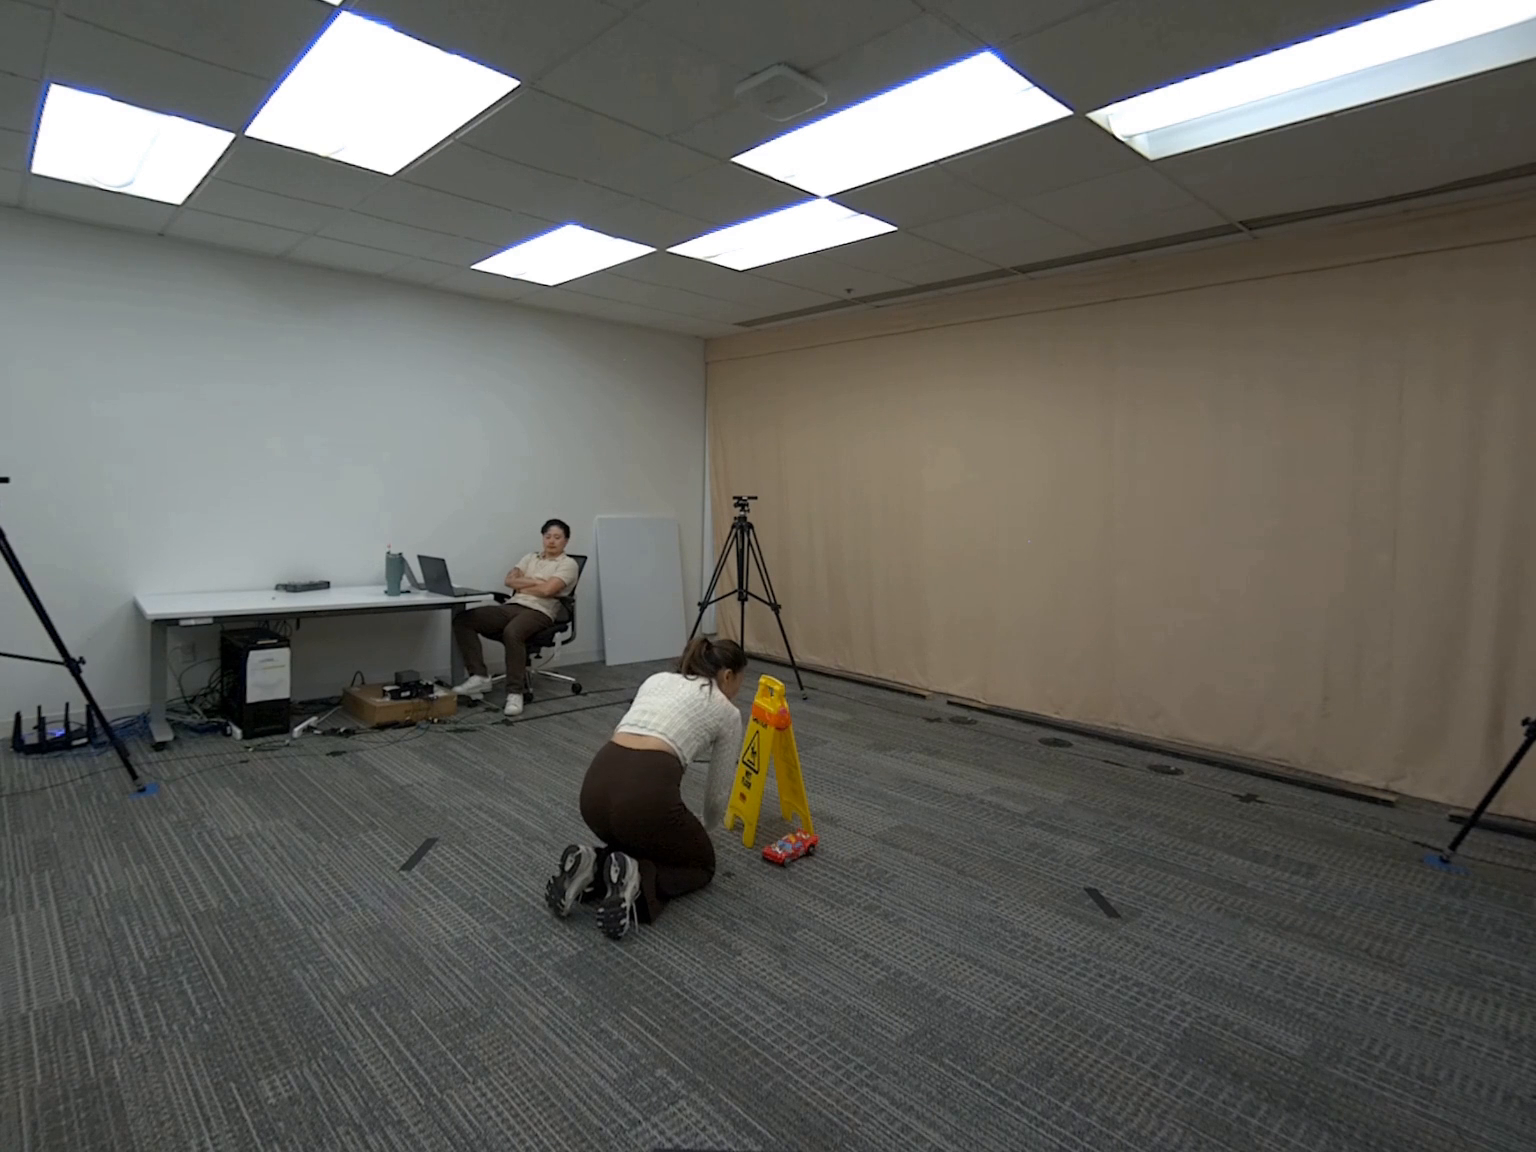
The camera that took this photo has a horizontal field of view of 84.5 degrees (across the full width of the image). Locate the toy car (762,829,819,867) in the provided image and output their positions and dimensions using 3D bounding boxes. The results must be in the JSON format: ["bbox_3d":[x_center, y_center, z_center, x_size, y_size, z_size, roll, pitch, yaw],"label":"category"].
[{"bbox_3d":[0.084,1.060,3.281,0.133,0.082,0.250,4,16,42],"label":"toy car"}]
